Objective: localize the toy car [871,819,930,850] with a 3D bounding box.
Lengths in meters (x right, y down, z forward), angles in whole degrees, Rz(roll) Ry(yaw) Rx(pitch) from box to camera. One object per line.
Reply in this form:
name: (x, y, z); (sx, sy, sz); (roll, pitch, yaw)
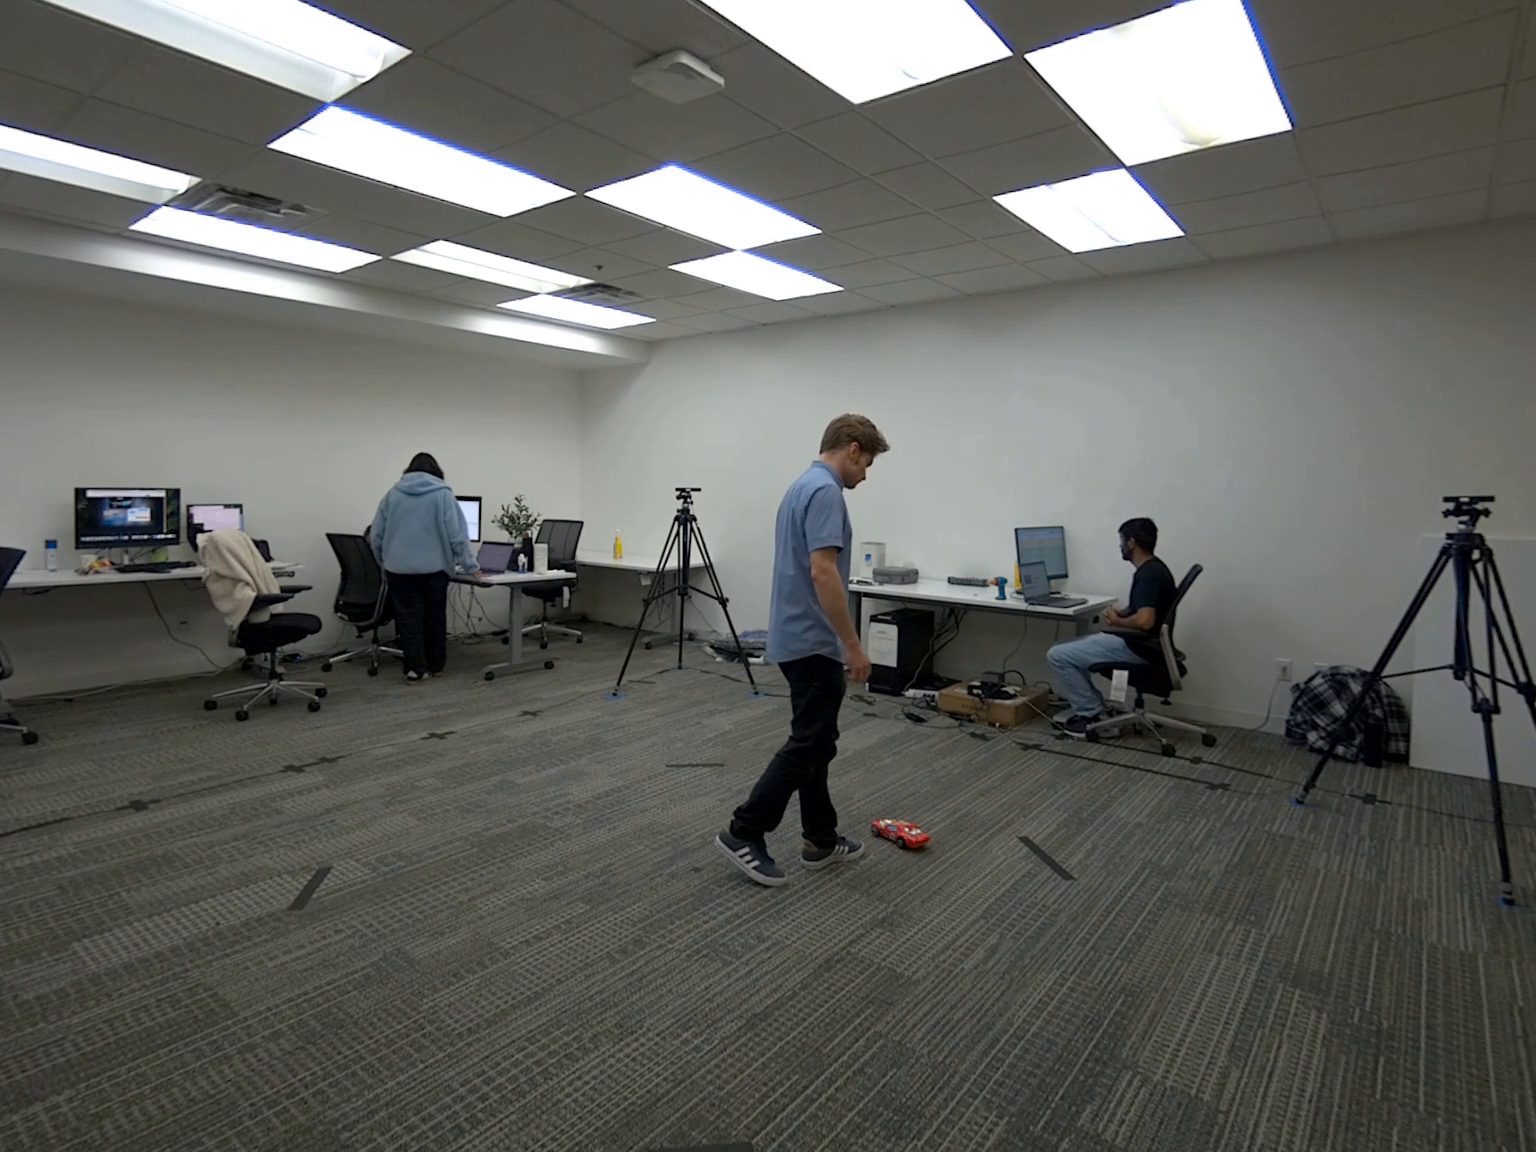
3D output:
toy car: (0.526, 1.024, 3.394); (0.126, 0.084, 0.261); (-1, -5, -36)
